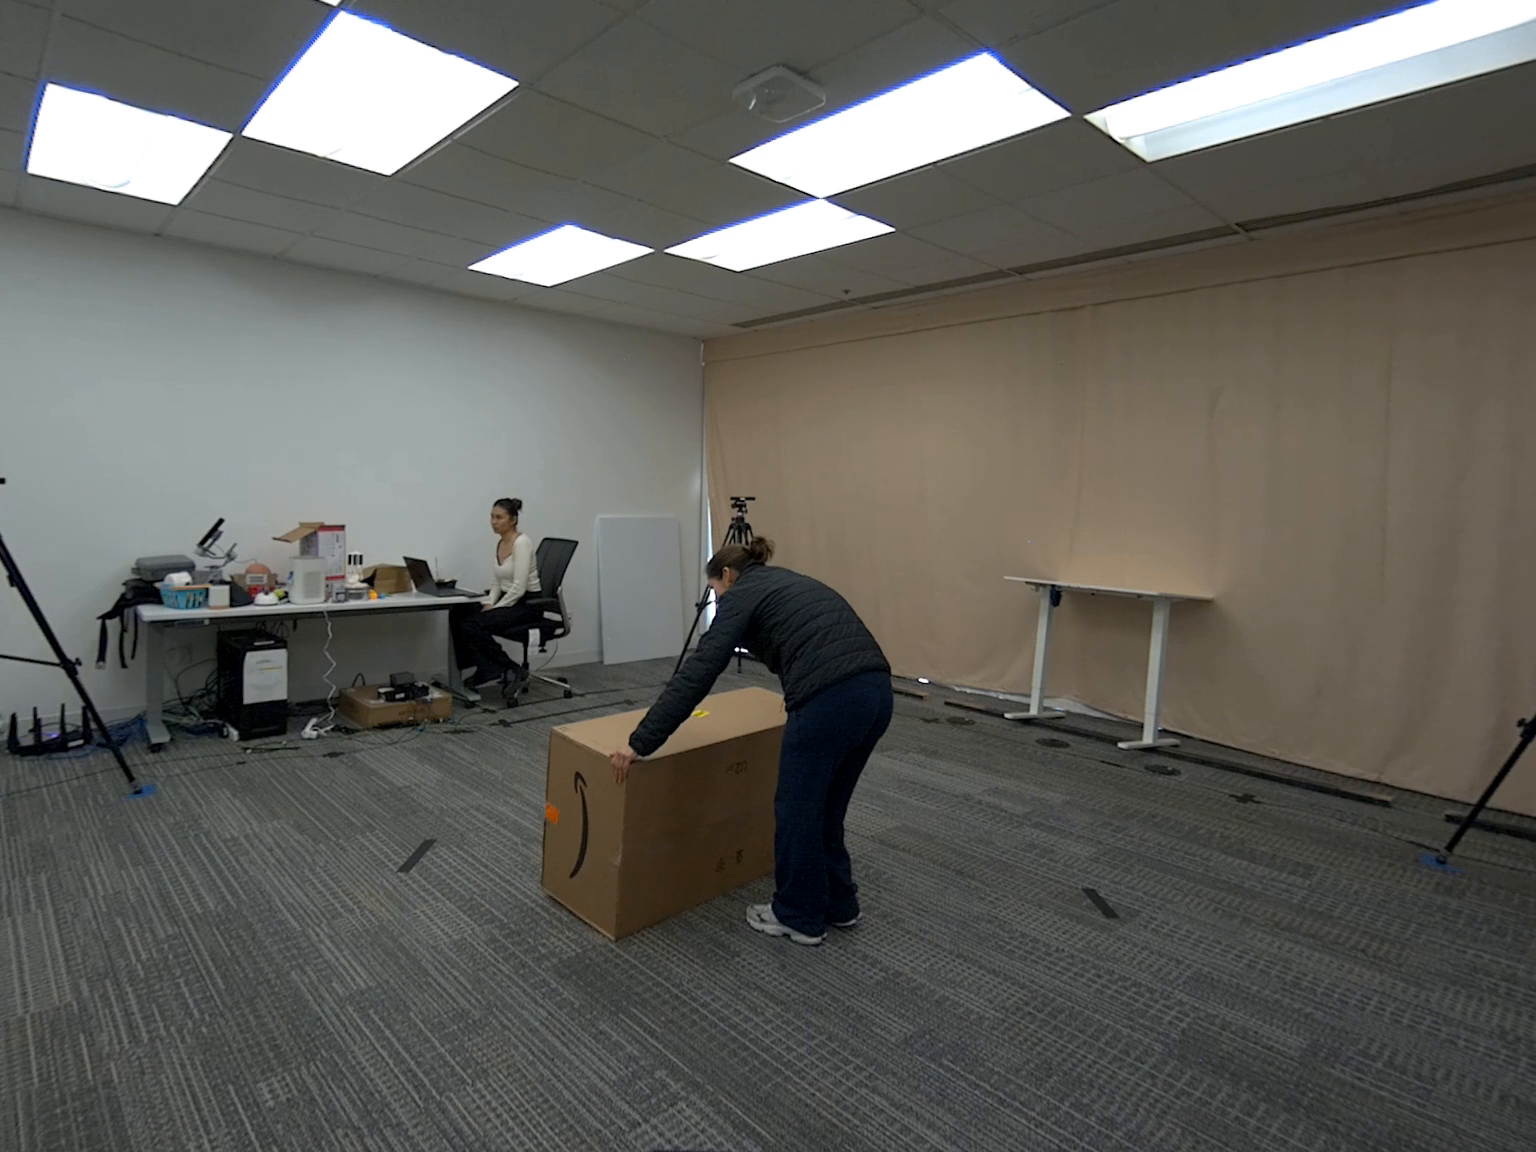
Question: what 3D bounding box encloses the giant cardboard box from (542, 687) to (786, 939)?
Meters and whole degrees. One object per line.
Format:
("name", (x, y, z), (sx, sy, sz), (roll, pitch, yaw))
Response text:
("giant cardboard box", (-0.269, 0.810, 3.095), (0.459, 0.582, 1.004), (8, 8, 42))
